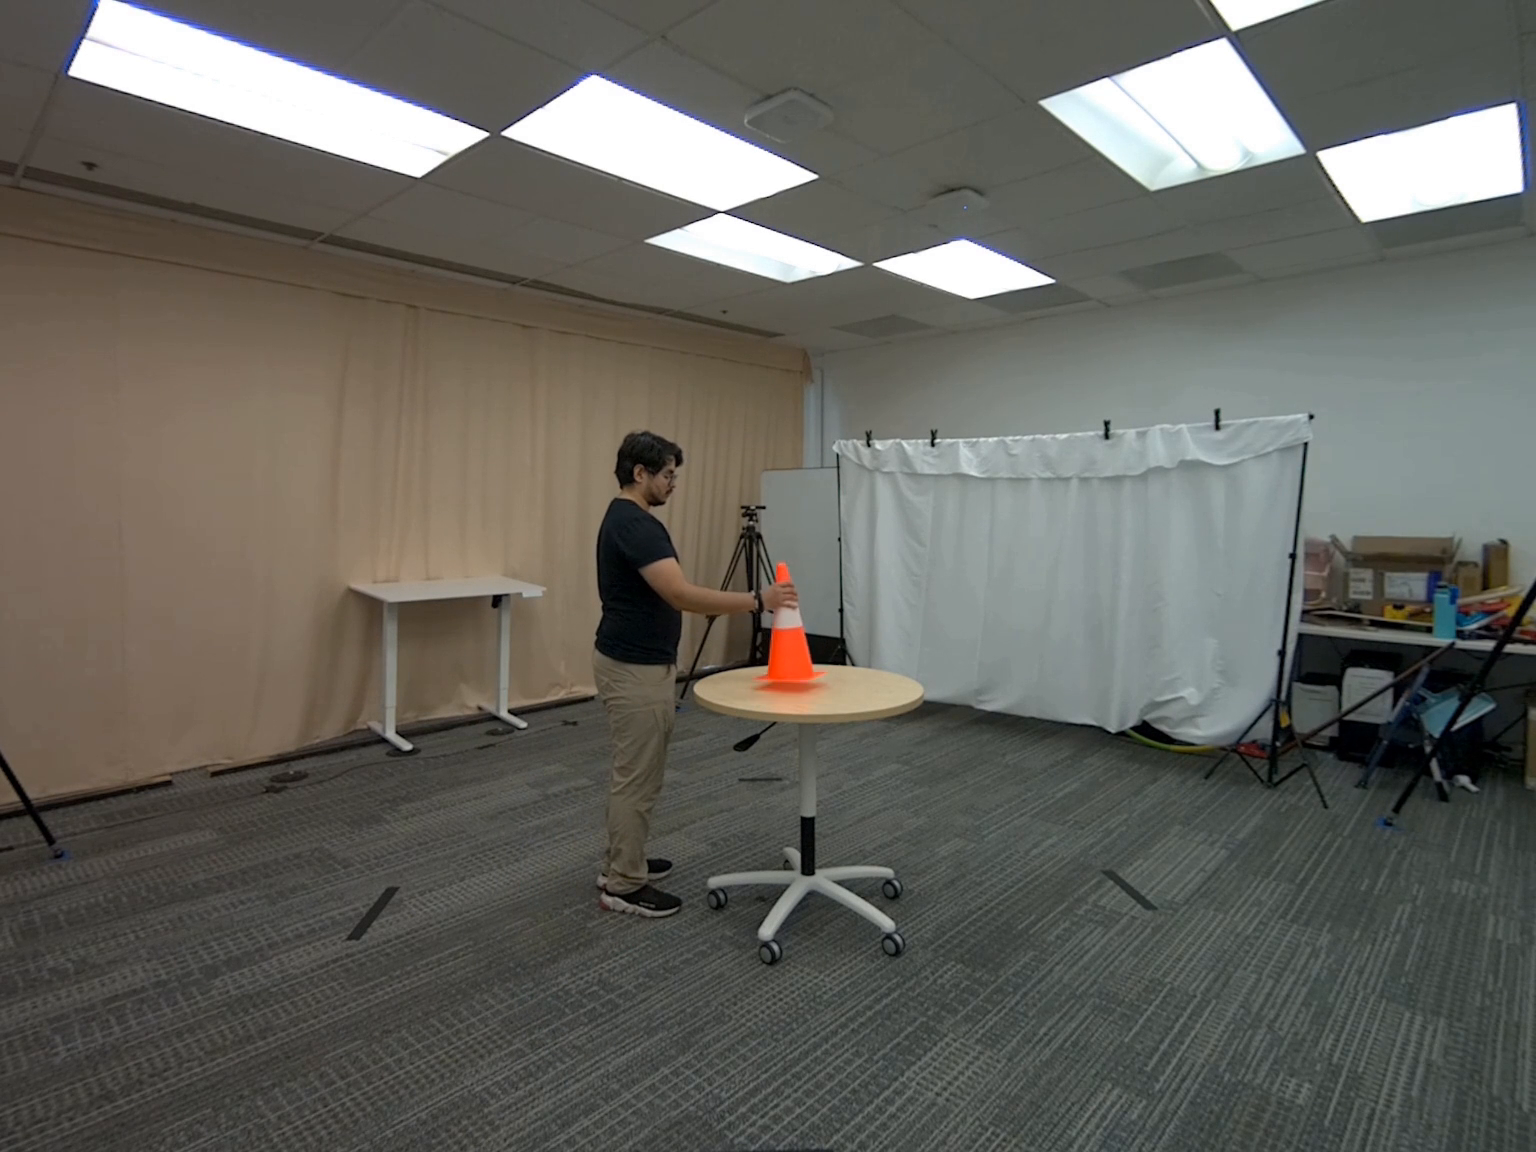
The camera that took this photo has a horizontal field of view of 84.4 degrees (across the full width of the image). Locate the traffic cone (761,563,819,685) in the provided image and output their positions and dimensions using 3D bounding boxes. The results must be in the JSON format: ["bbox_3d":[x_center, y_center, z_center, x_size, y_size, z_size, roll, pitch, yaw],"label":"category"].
[{"bbox_3d":[0.060,0.144,2.822,0.211,0.383,0.198,-3,3,31],"label":"traffic cone"}]
